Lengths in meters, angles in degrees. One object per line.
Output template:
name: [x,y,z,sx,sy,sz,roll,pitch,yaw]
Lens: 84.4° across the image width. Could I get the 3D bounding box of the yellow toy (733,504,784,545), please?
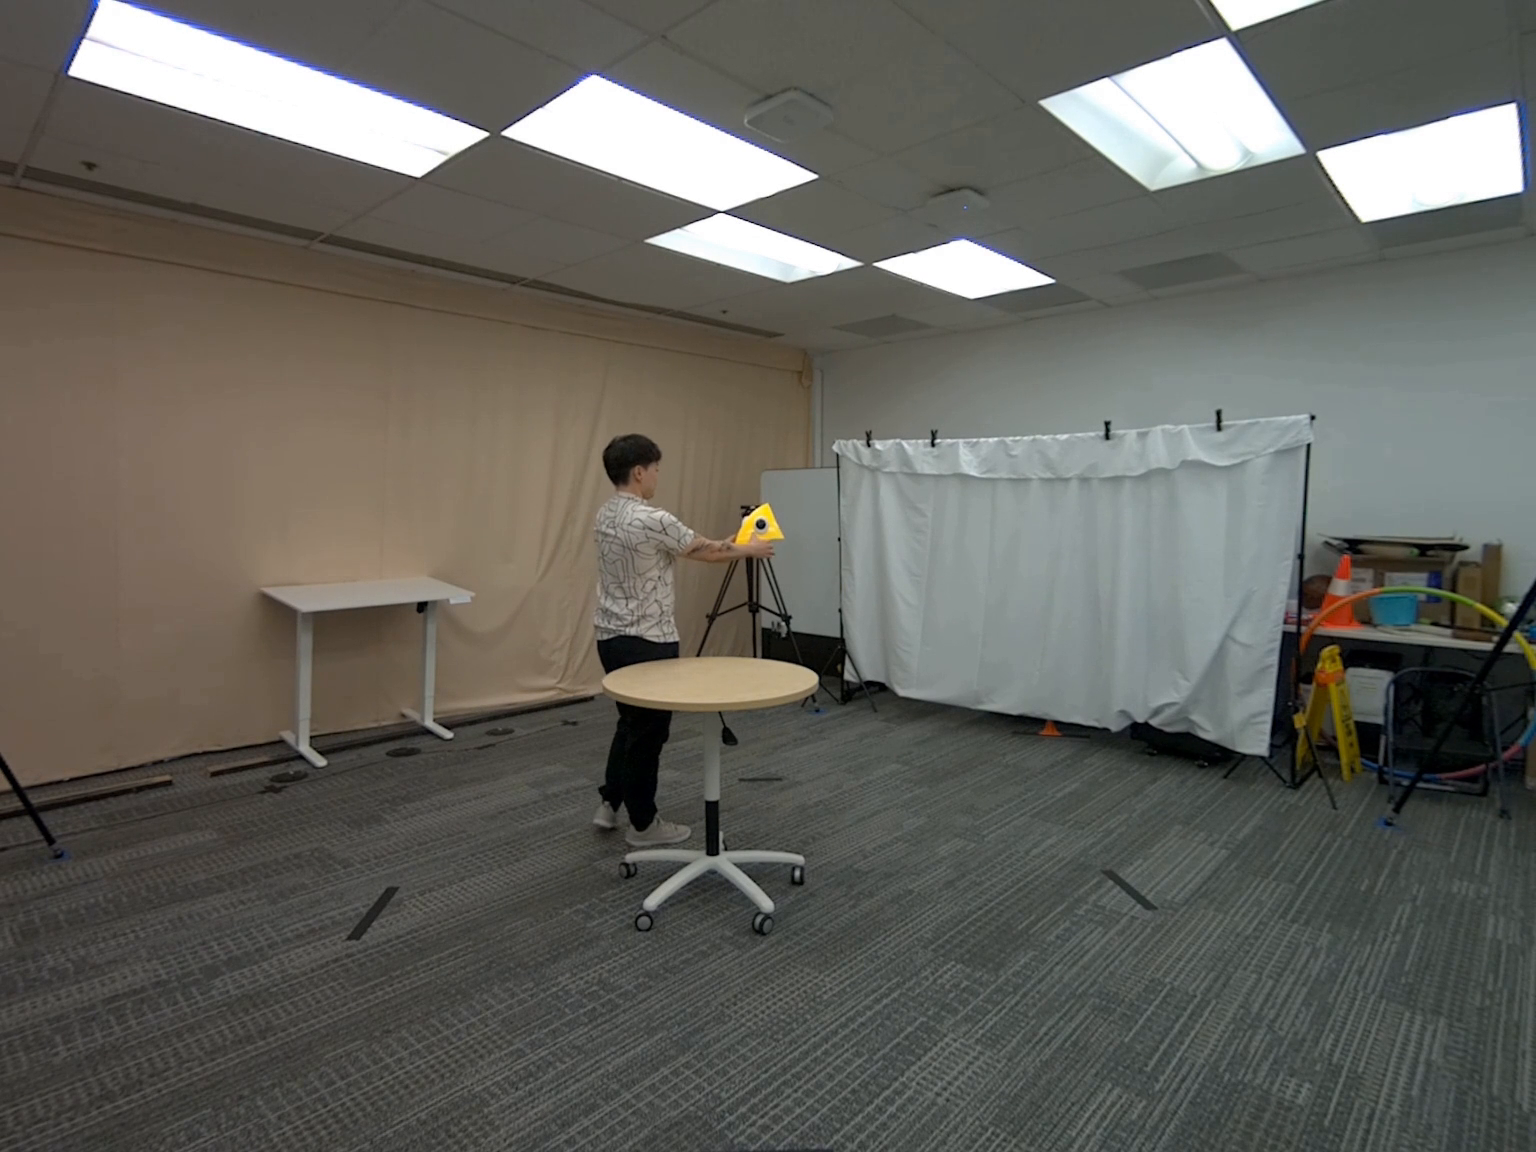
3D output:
yellow toy: [-0.059,-0.214,3.708,0.187,0.230,0.211,5,1,-34]
